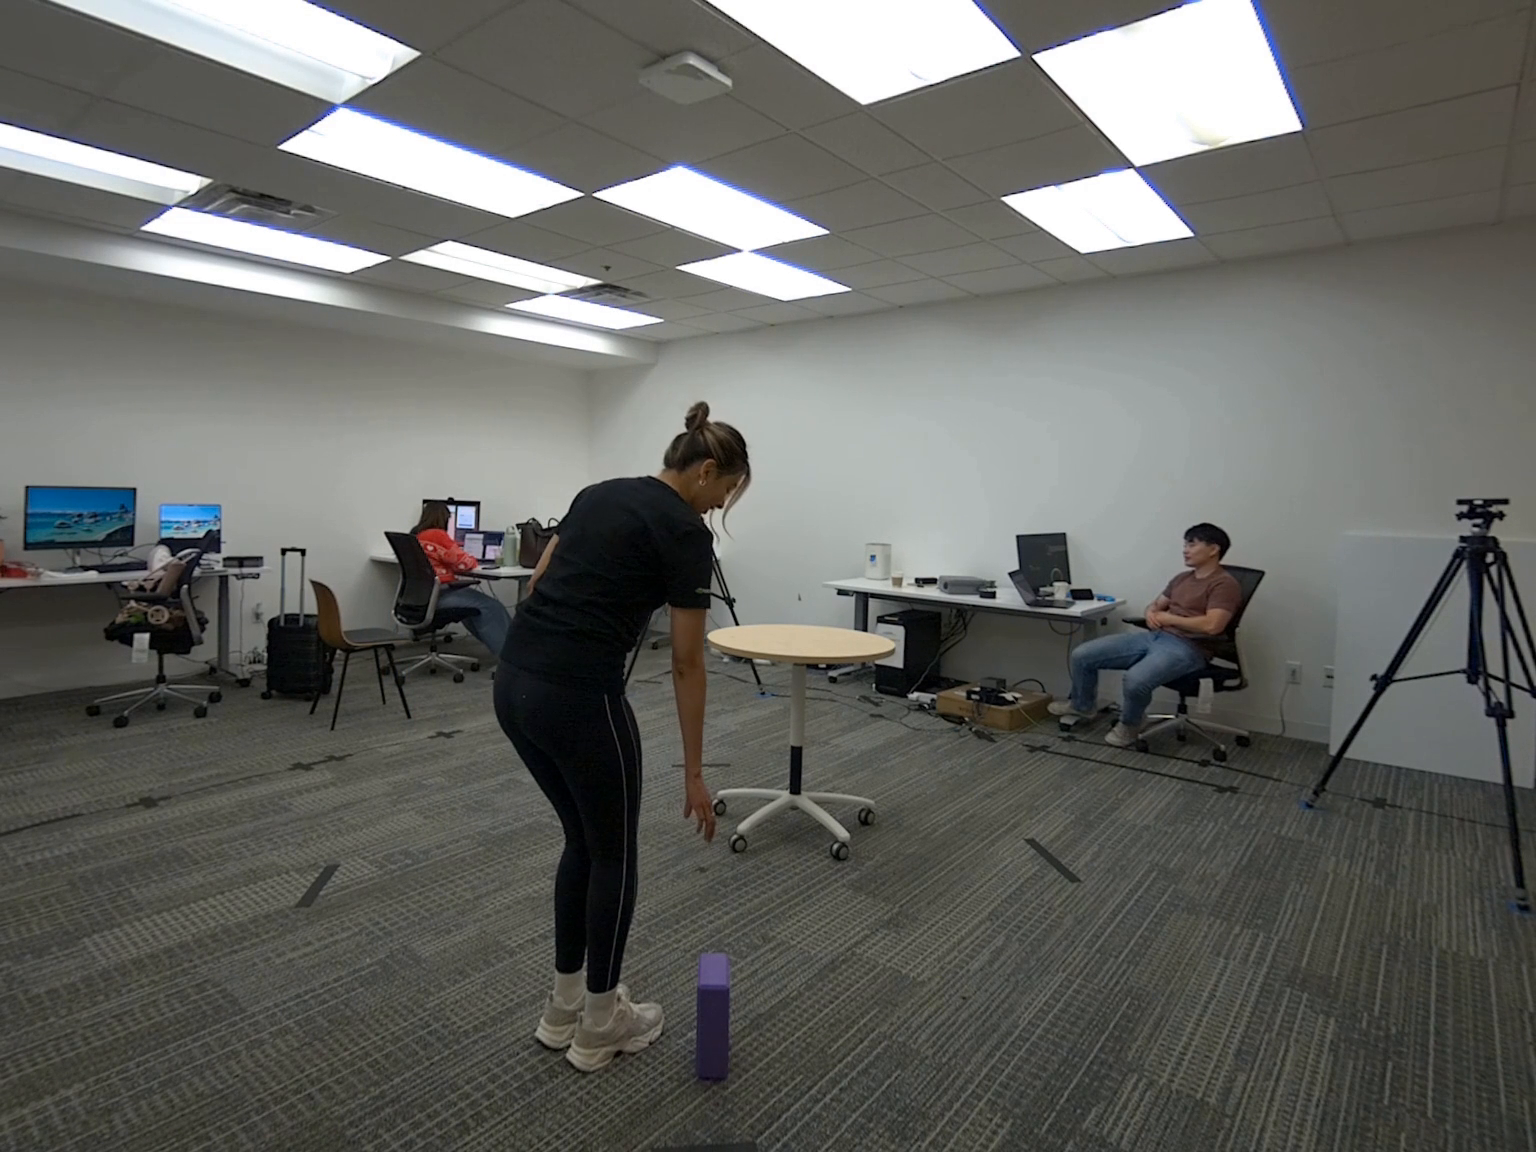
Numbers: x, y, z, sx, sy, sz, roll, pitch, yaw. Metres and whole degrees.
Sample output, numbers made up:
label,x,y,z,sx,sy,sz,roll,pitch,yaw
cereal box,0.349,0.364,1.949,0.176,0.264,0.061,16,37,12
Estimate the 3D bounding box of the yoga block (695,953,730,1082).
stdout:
label,x,y,z,sx,sy,sz,roll,pitch,yaw
yoga block,-0.139,1.068,2.050,0.076,0.228,0.150,1,8,-2
